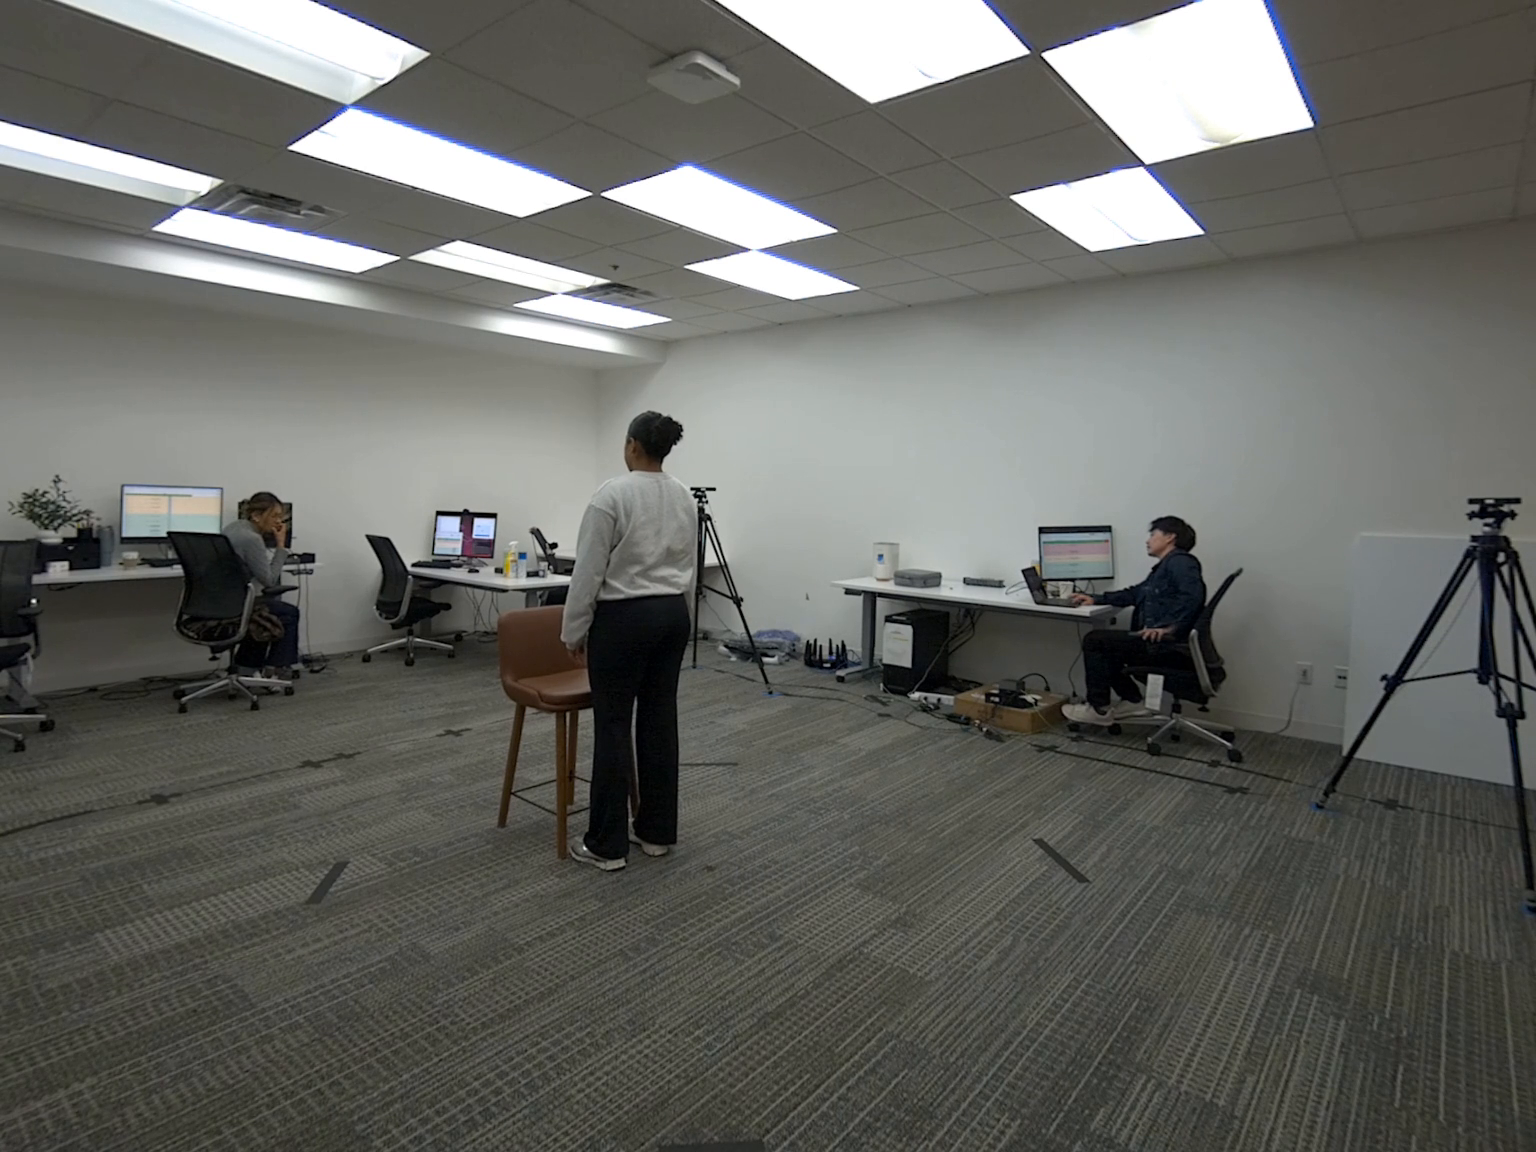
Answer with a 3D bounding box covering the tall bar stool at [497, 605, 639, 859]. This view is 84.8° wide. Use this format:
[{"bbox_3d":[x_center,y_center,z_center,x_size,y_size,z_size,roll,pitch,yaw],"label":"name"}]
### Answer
[{"bbox_3d":[-0.824,0.584,3.443,0.483,0.889,0.442,1,2,41],"label":"tall bar stool"}]
